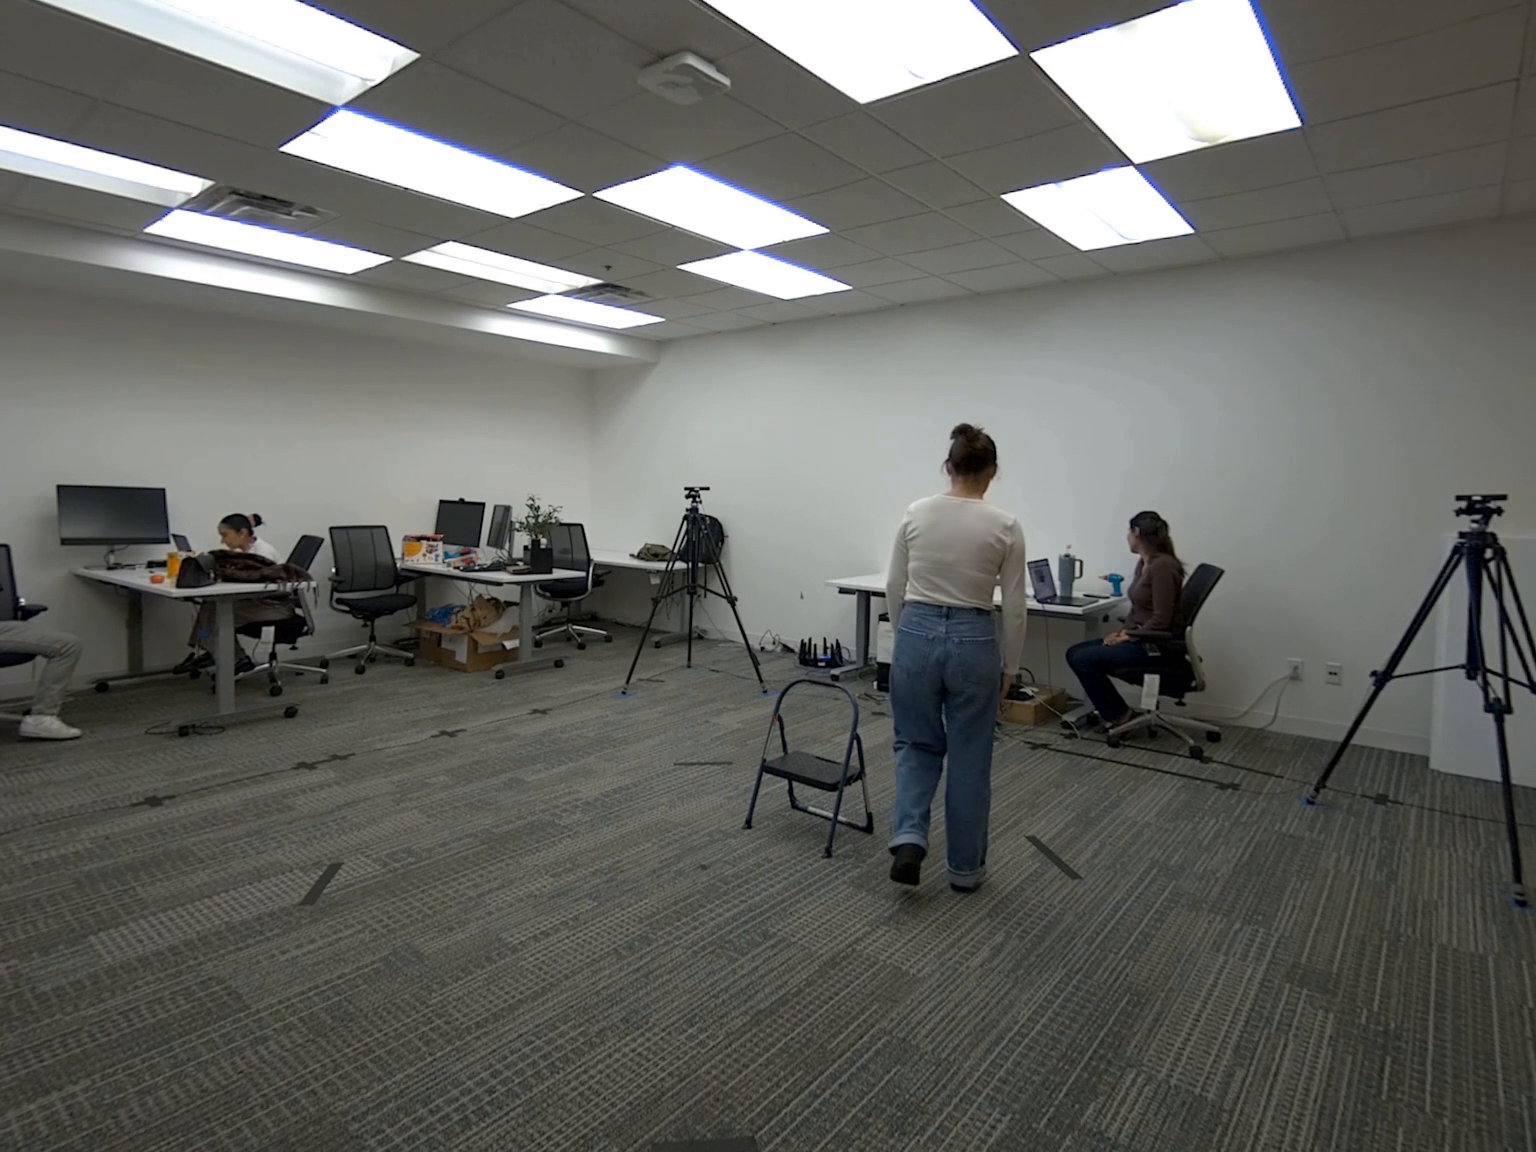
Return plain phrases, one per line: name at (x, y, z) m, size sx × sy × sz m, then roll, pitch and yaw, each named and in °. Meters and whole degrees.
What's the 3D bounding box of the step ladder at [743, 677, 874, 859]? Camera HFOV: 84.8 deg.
step ladder at (0.166, 0.733, 3.463) m, size 0.445 × 0.604 × 0.339 m, roll 4°, pitch 4°, yaw 39°
